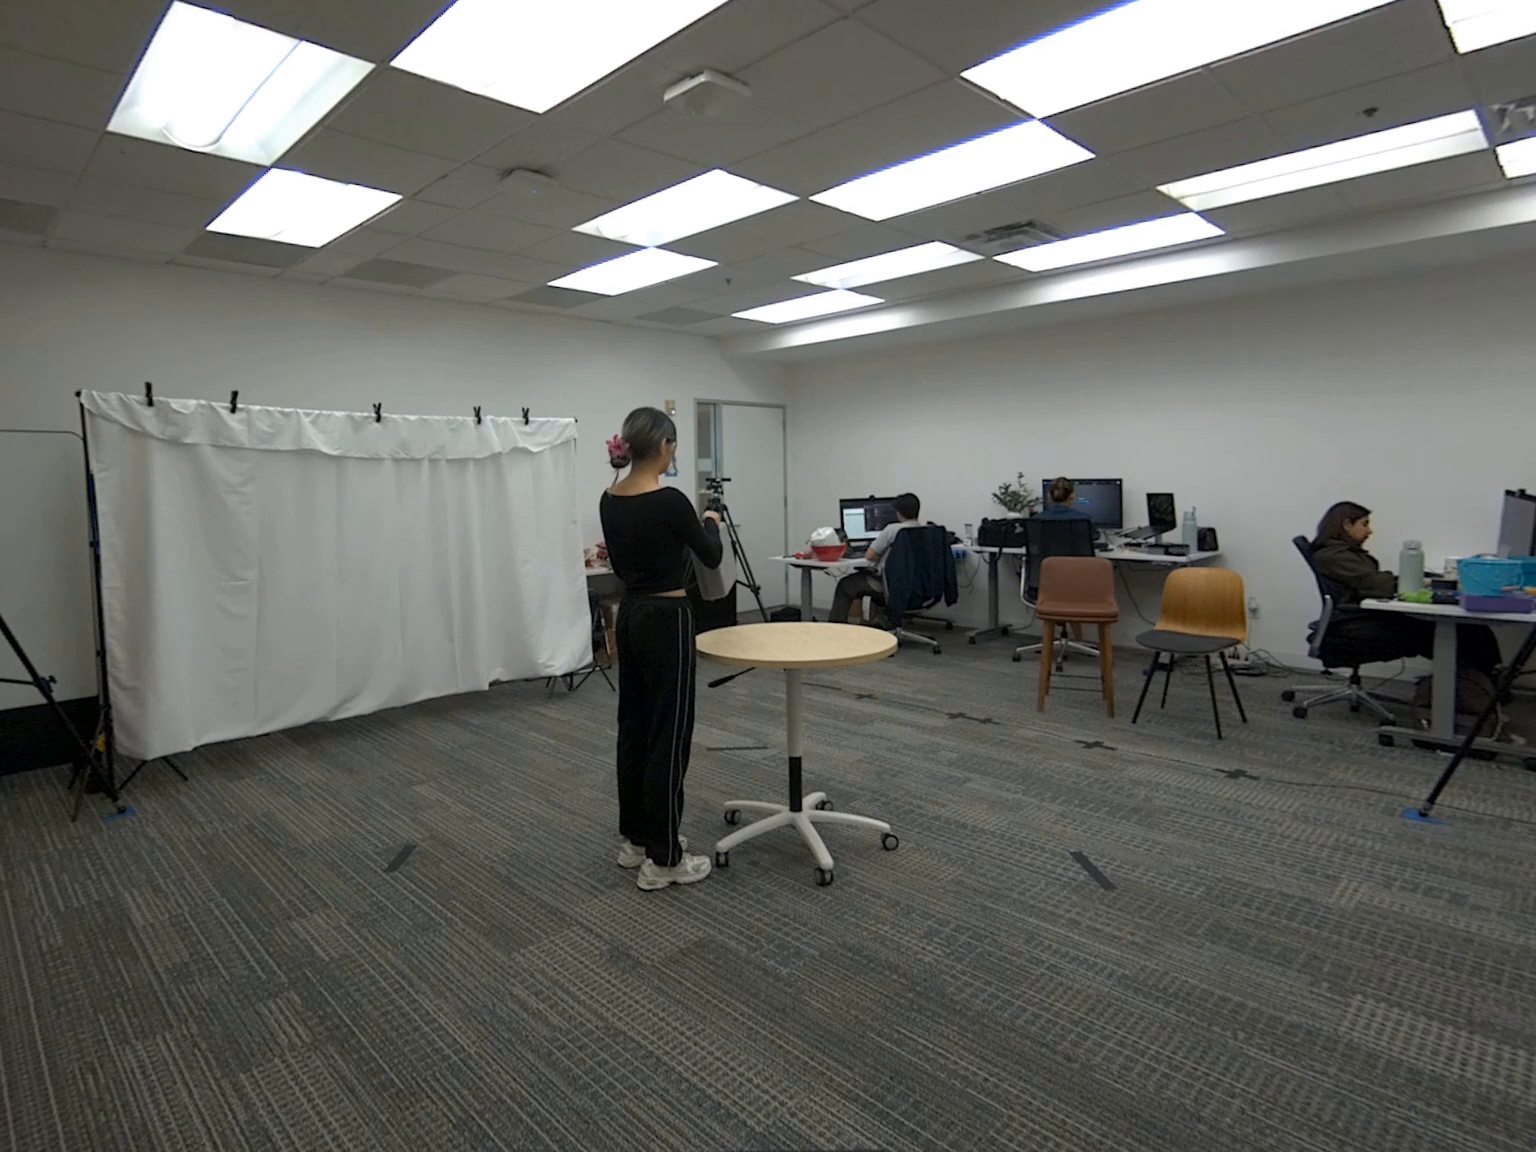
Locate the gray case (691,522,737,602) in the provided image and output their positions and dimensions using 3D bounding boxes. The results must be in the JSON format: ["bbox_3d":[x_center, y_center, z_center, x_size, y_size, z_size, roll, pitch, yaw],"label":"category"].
[{"bbox_3d":[-0.211,-0.064,3.394,0.105,0.256,0.258,-6,18,13],"label":"gray case"}]
